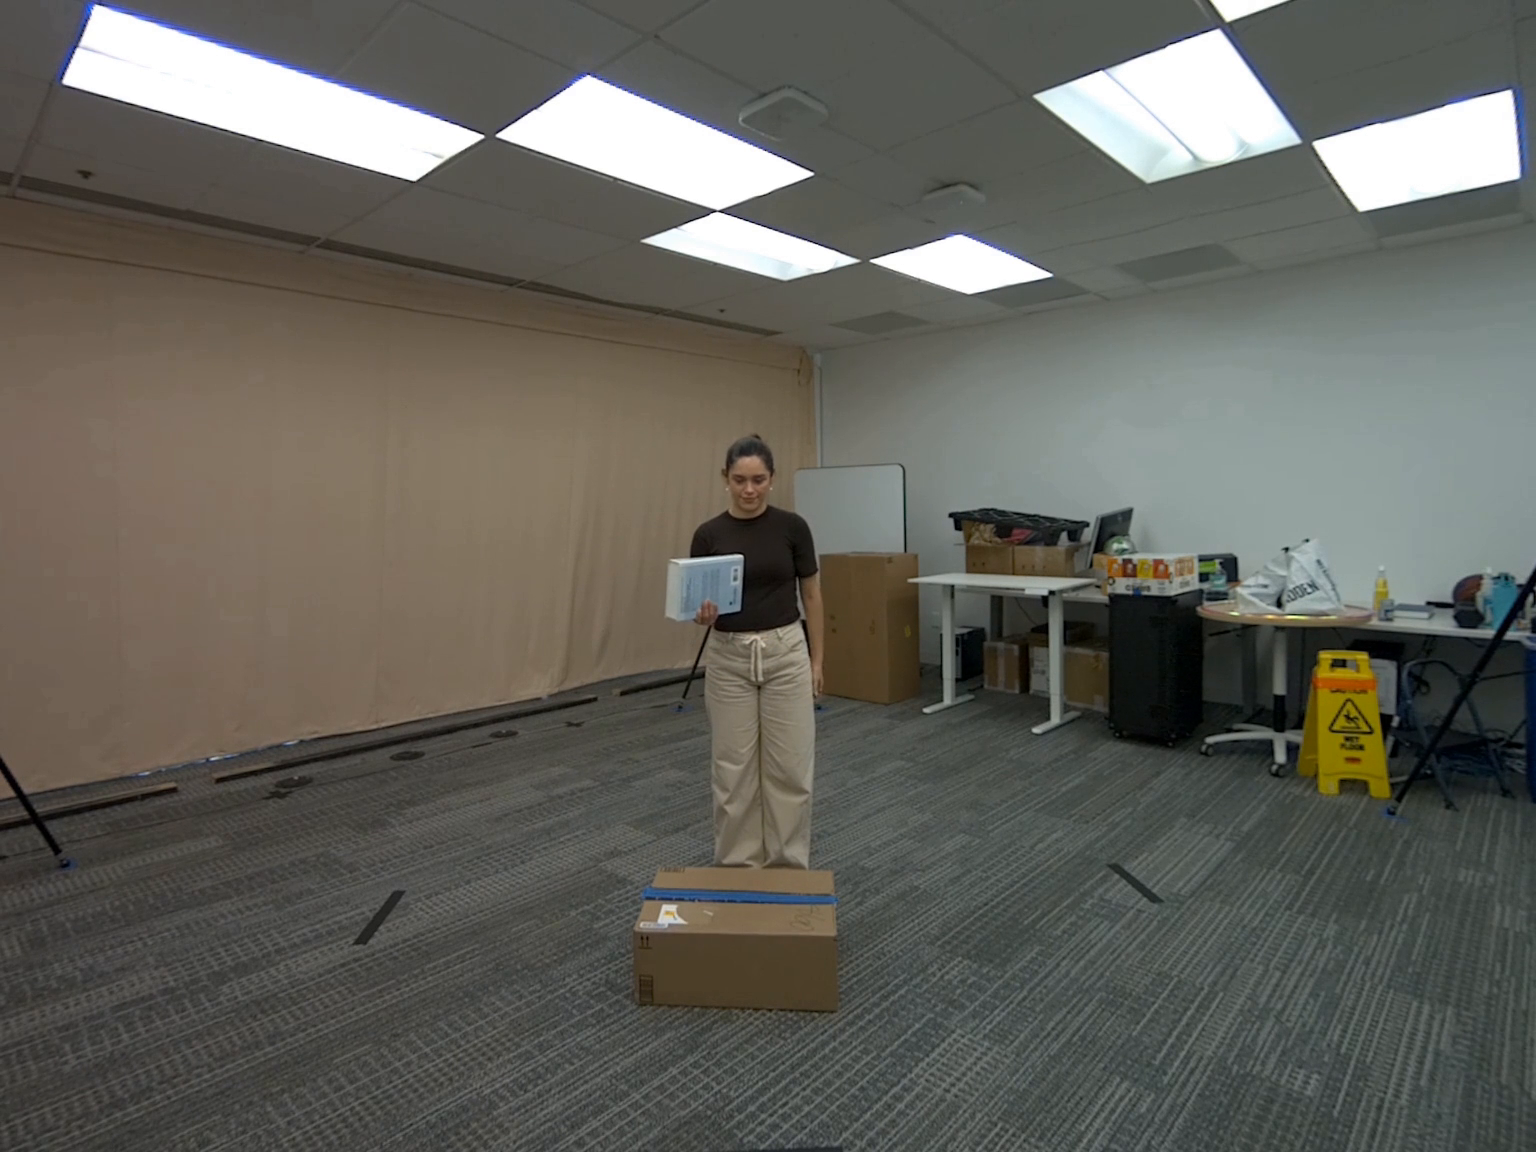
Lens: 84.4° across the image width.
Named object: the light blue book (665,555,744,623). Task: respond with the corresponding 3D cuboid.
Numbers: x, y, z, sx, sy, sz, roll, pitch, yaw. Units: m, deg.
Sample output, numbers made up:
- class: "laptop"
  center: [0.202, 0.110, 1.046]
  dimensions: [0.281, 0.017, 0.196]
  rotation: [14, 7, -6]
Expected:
- class: "light blue book"
  center: [-0.192, 0.034, 2.689]
  dimensions: [0.253, 0.190, 0.061]
  rotation: [-7, 16, -40]
